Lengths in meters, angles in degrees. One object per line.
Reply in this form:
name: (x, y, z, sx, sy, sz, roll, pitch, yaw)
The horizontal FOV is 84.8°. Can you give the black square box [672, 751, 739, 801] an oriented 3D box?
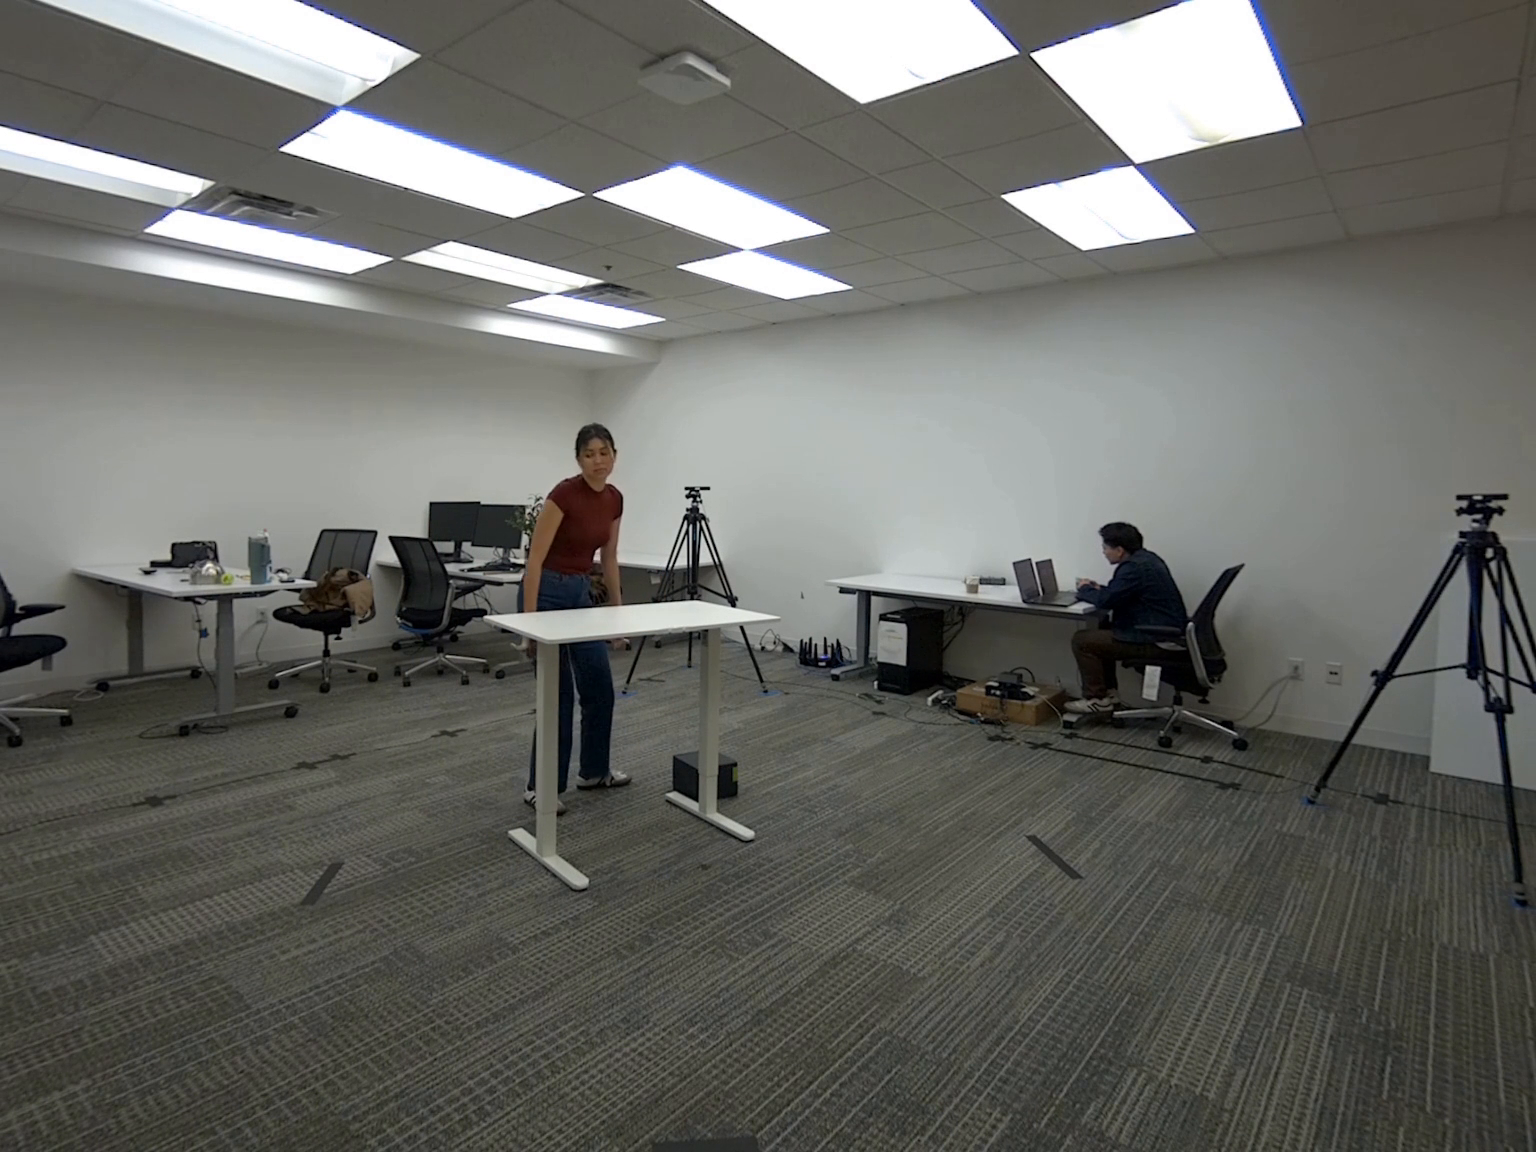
black square box: (-0.297, 0.906, 3.883, 0.211, 0.155, 0.235, -2, 5, -34)
